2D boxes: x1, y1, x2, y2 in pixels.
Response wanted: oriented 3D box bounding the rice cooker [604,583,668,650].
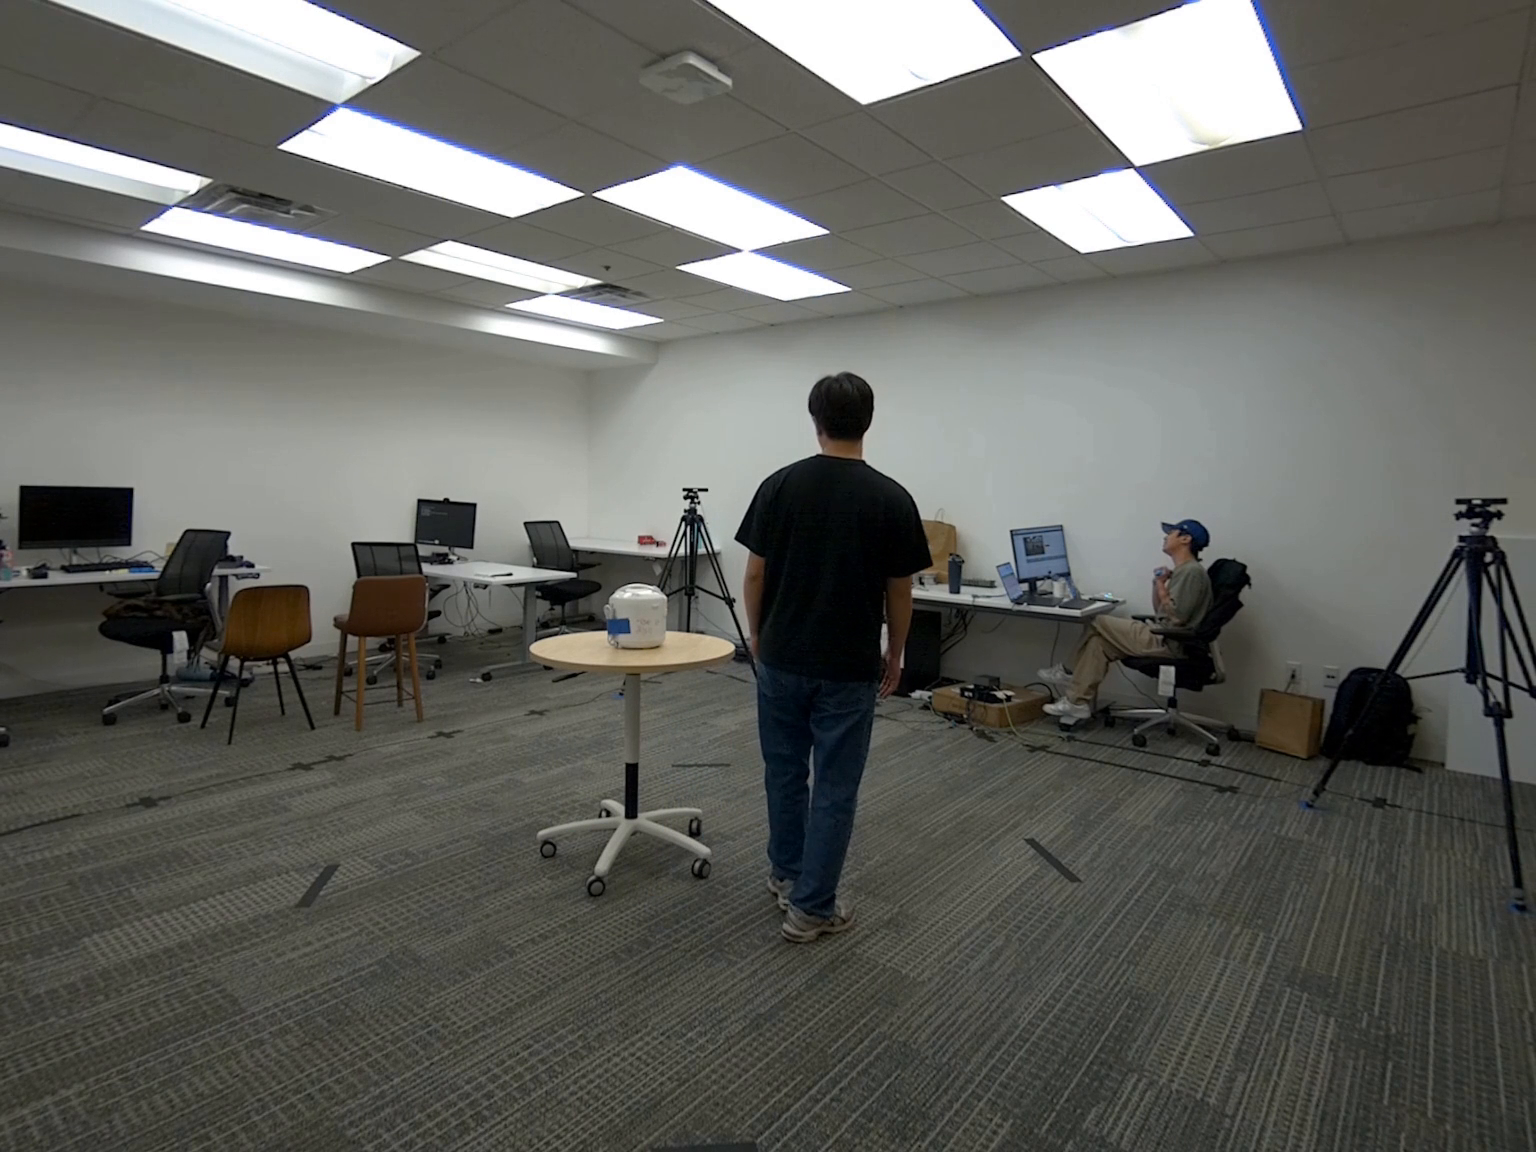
[{"bbox_3d":[-0.502,0.144,3.207,0.223,0.232,0.216,1,4,8],"label":"rice cooker"}]
